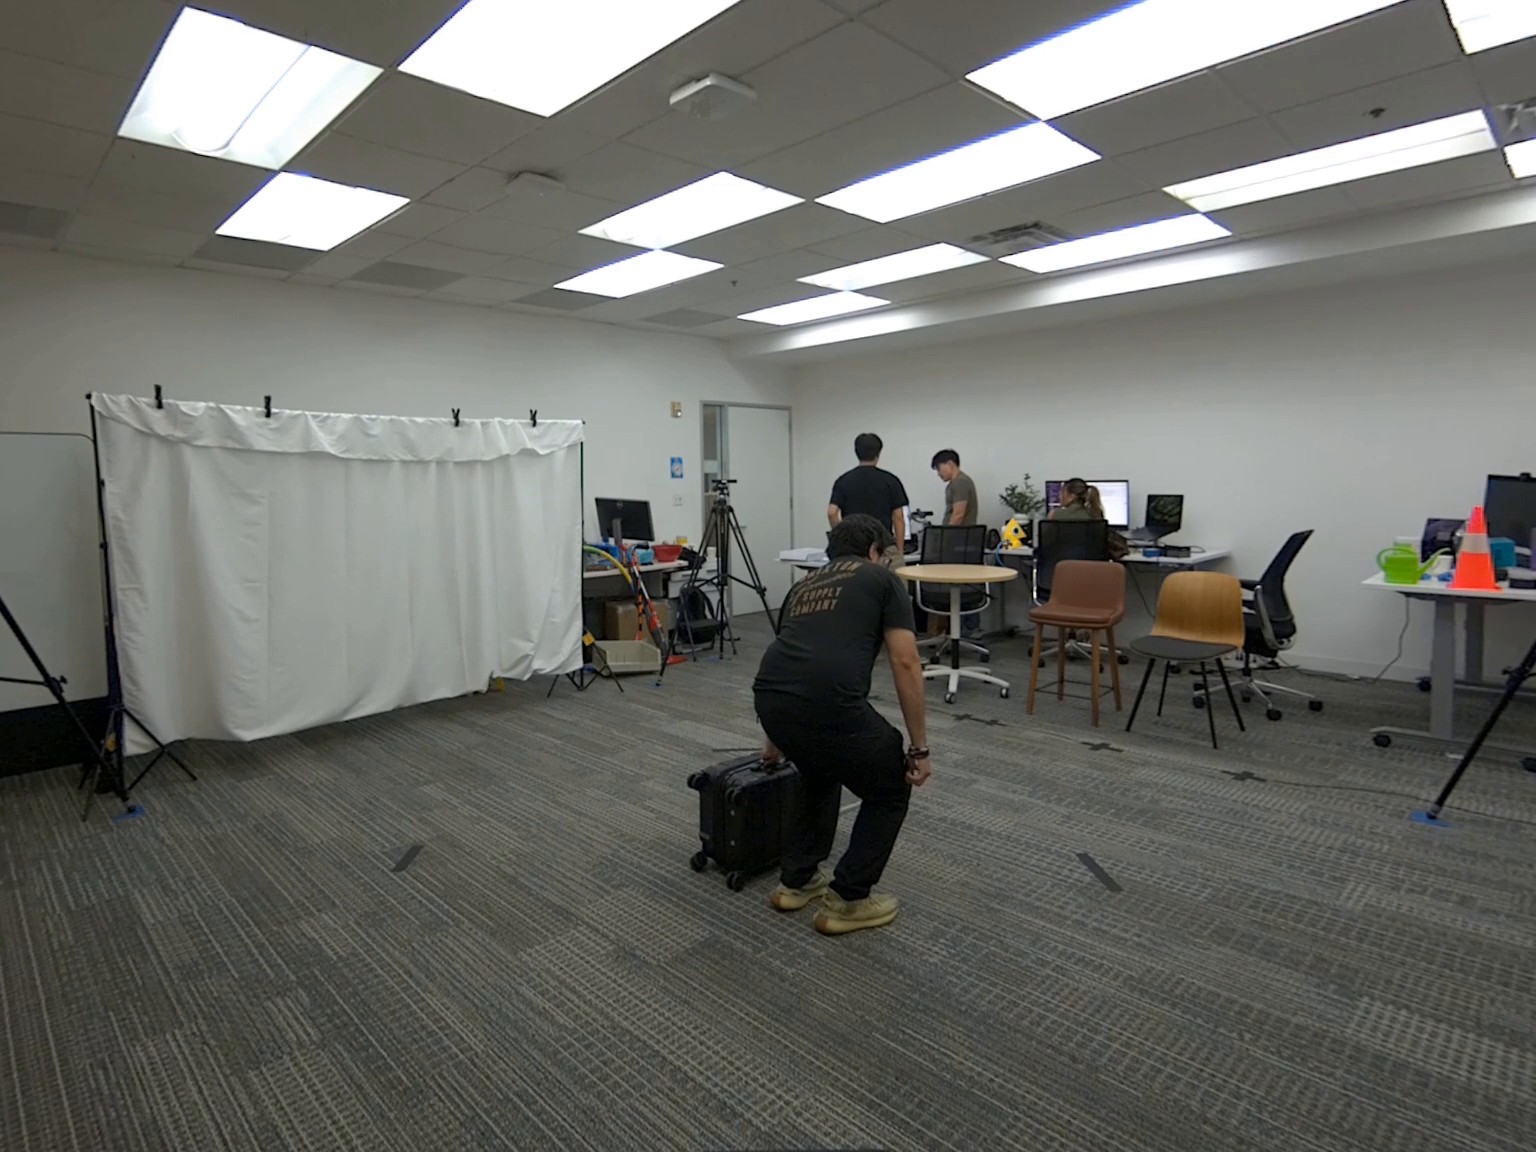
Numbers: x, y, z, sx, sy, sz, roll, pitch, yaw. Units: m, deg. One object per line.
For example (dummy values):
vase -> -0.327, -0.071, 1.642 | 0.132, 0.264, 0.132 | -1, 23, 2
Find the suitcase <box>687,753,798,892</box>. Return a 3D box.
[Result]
suitcase -> 0.130, 0.836, 3.300 | 0.953, 0.383, 0.265 | -6, 6, -44
